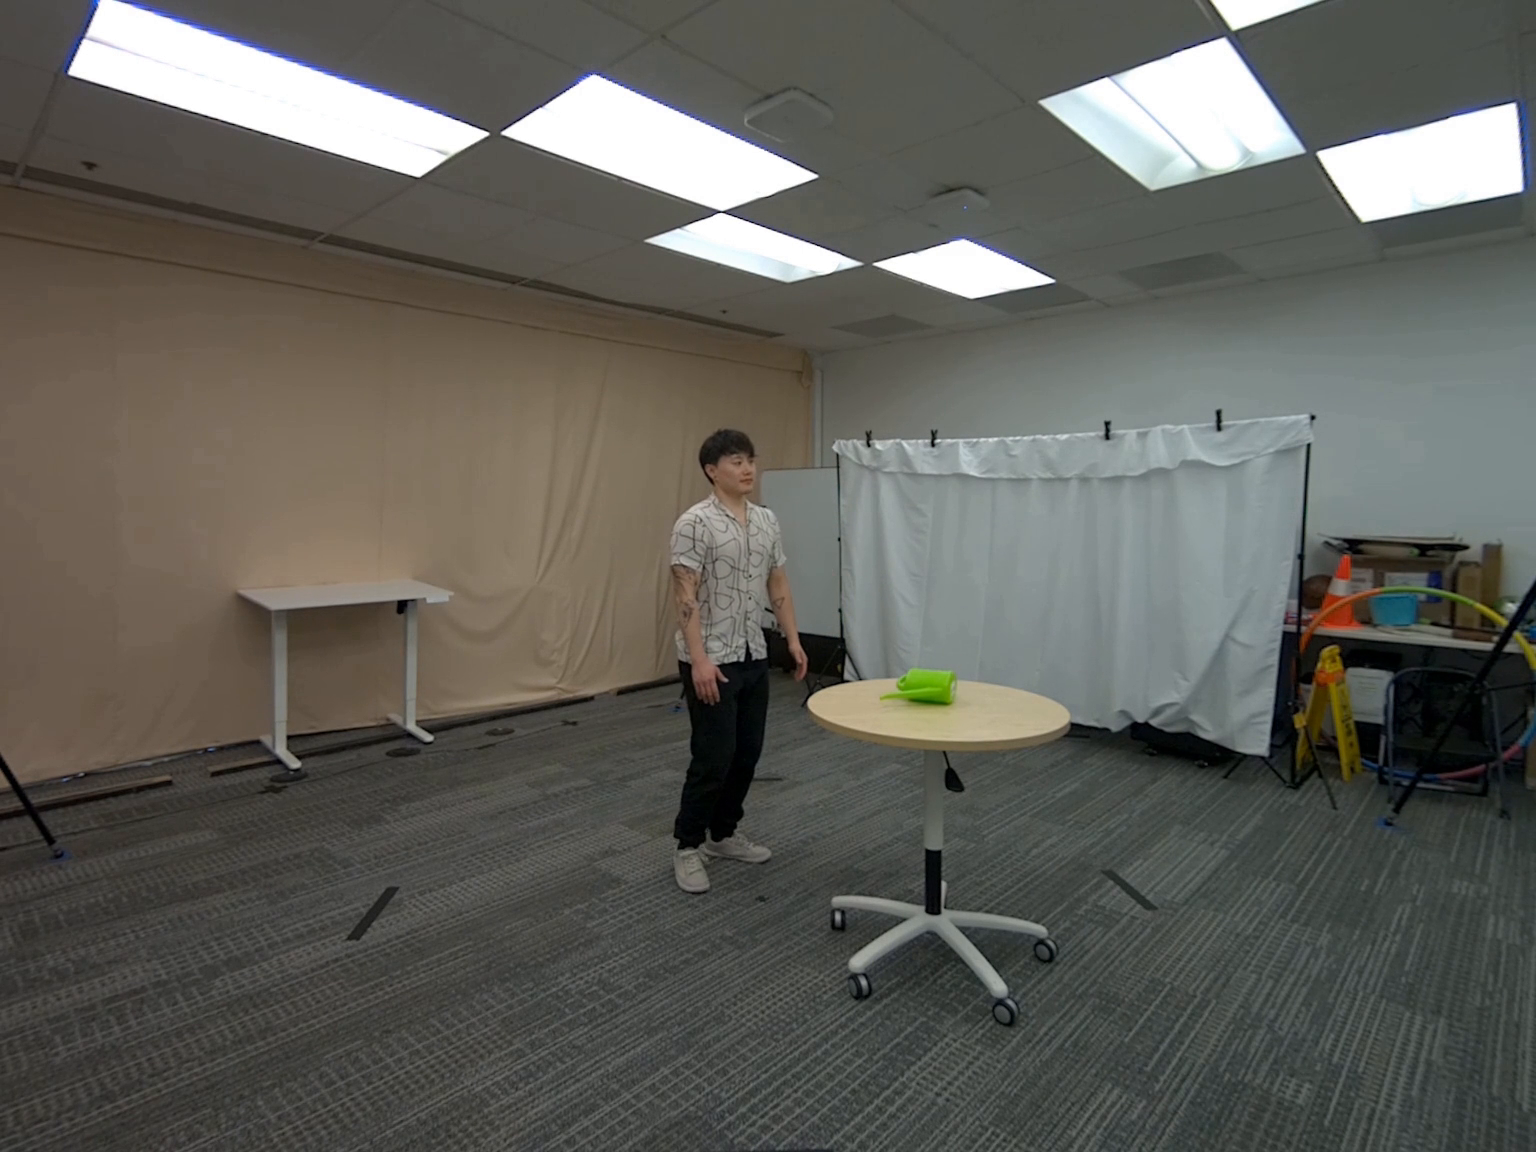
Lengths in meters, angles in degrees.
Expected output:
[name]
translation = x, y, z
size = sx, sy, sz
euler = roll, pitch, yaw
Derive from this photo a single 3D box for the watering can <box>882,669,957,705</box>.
[watering can]
translation = 0.476, 0.358, 2.587
size = 0.181, 0.096, 0.275
euler = 1, 22, 27
